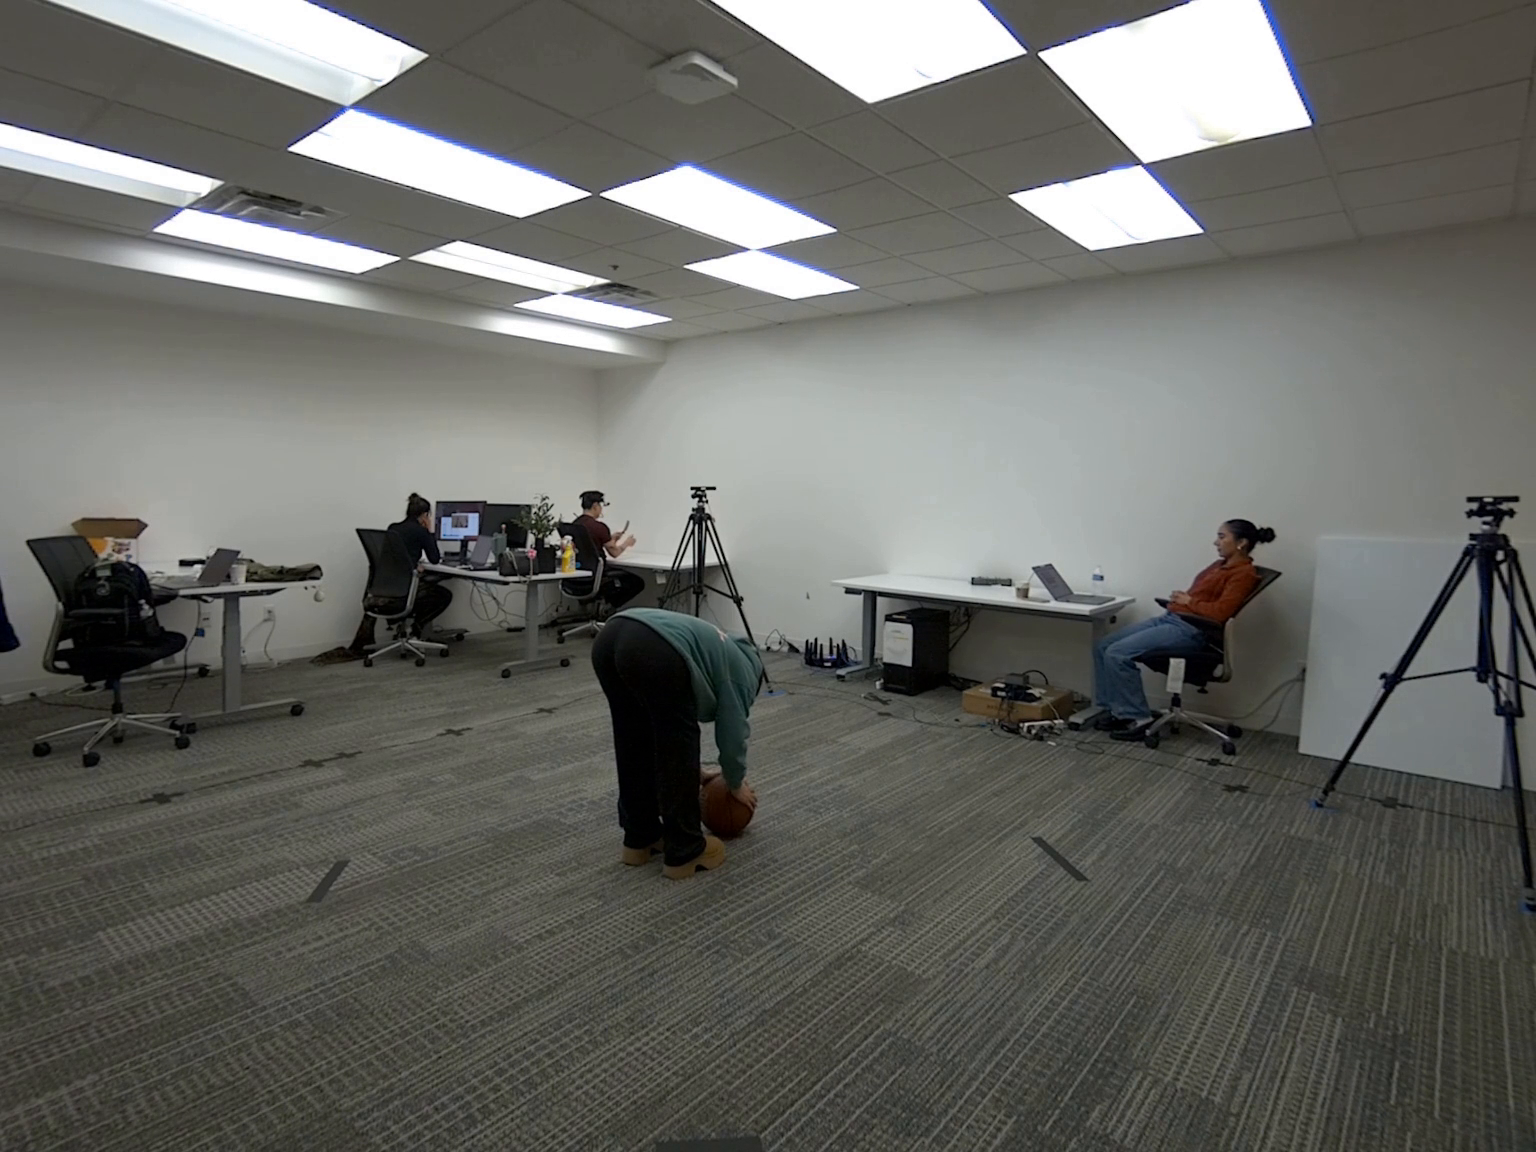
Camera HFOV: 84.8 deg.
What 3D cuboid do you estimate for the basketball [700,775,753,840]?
[{"bbox_3d":[-0.178,0.907,3.438,0.235,0.235,0.237,1,4,-2],"label":"basketball"}]
